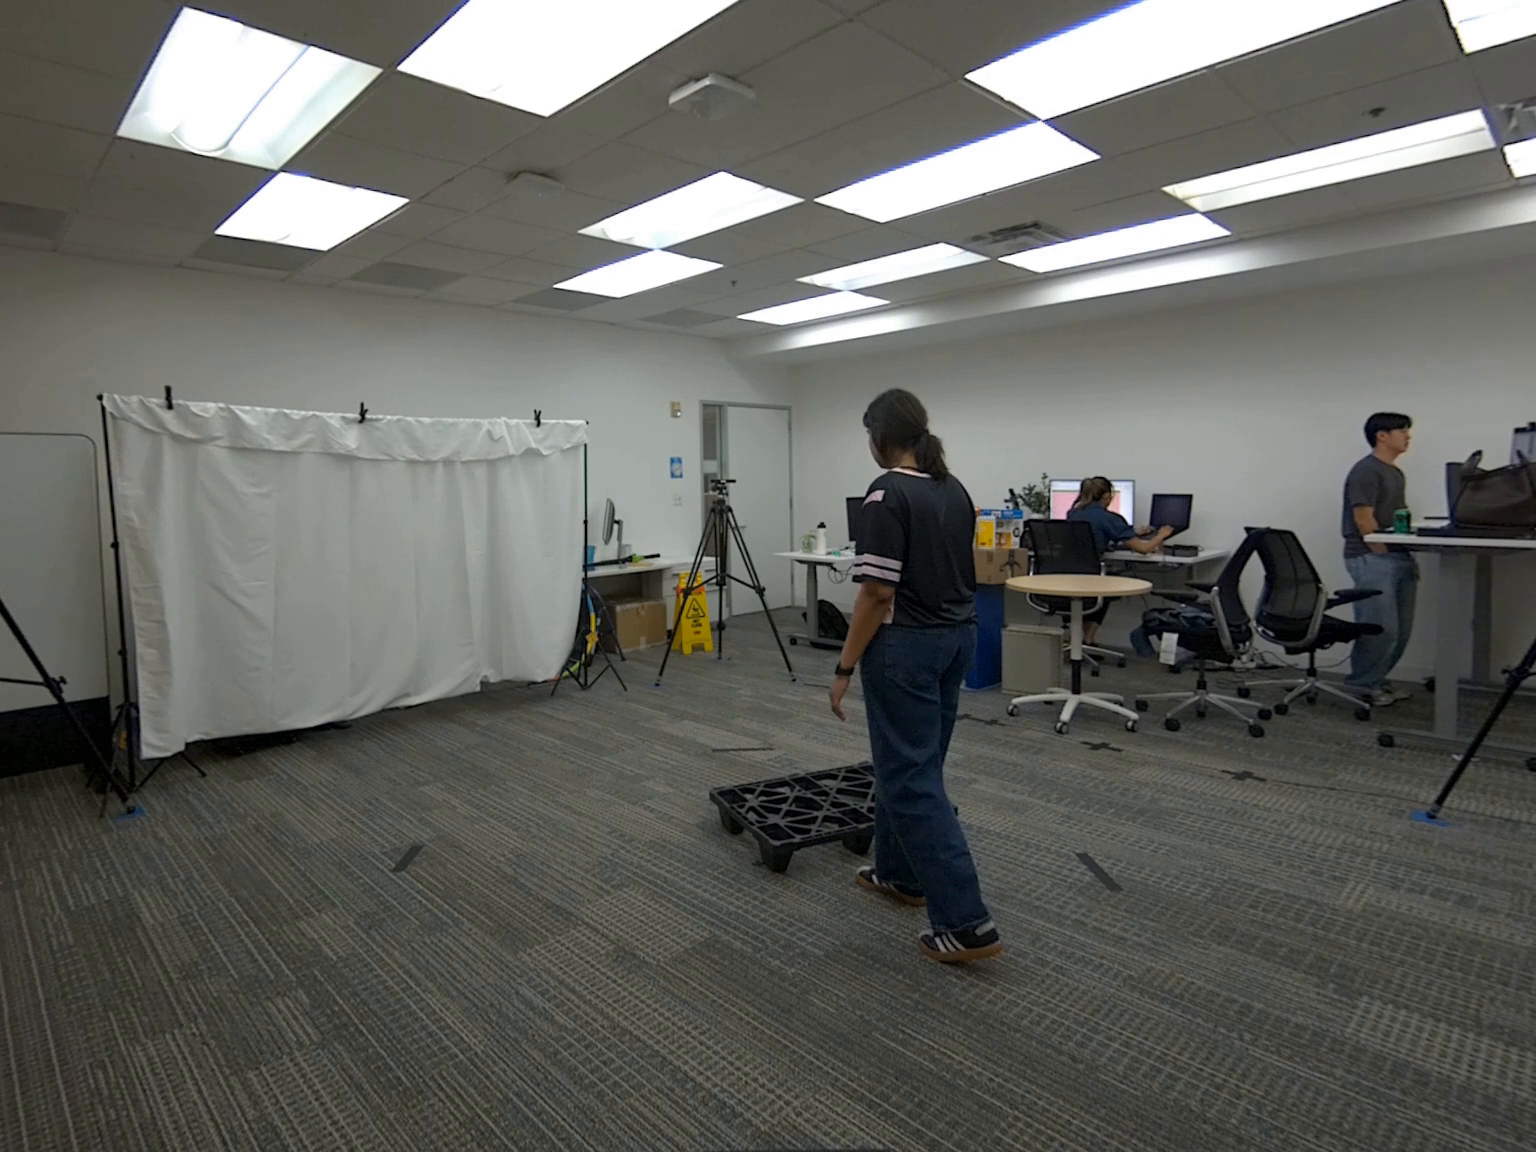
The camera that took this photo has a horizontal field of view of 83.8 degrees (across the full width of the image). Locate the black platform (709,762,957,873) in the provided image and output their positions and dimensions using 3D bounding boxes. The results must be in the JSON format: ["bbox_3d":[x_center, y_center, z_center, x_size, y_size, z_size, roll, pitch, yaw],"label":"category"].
[{"bbox_3d":[0.243,0.944,3.388,0.789,0.143,0.620,-4,6,-25],"label":"black platform"}]
